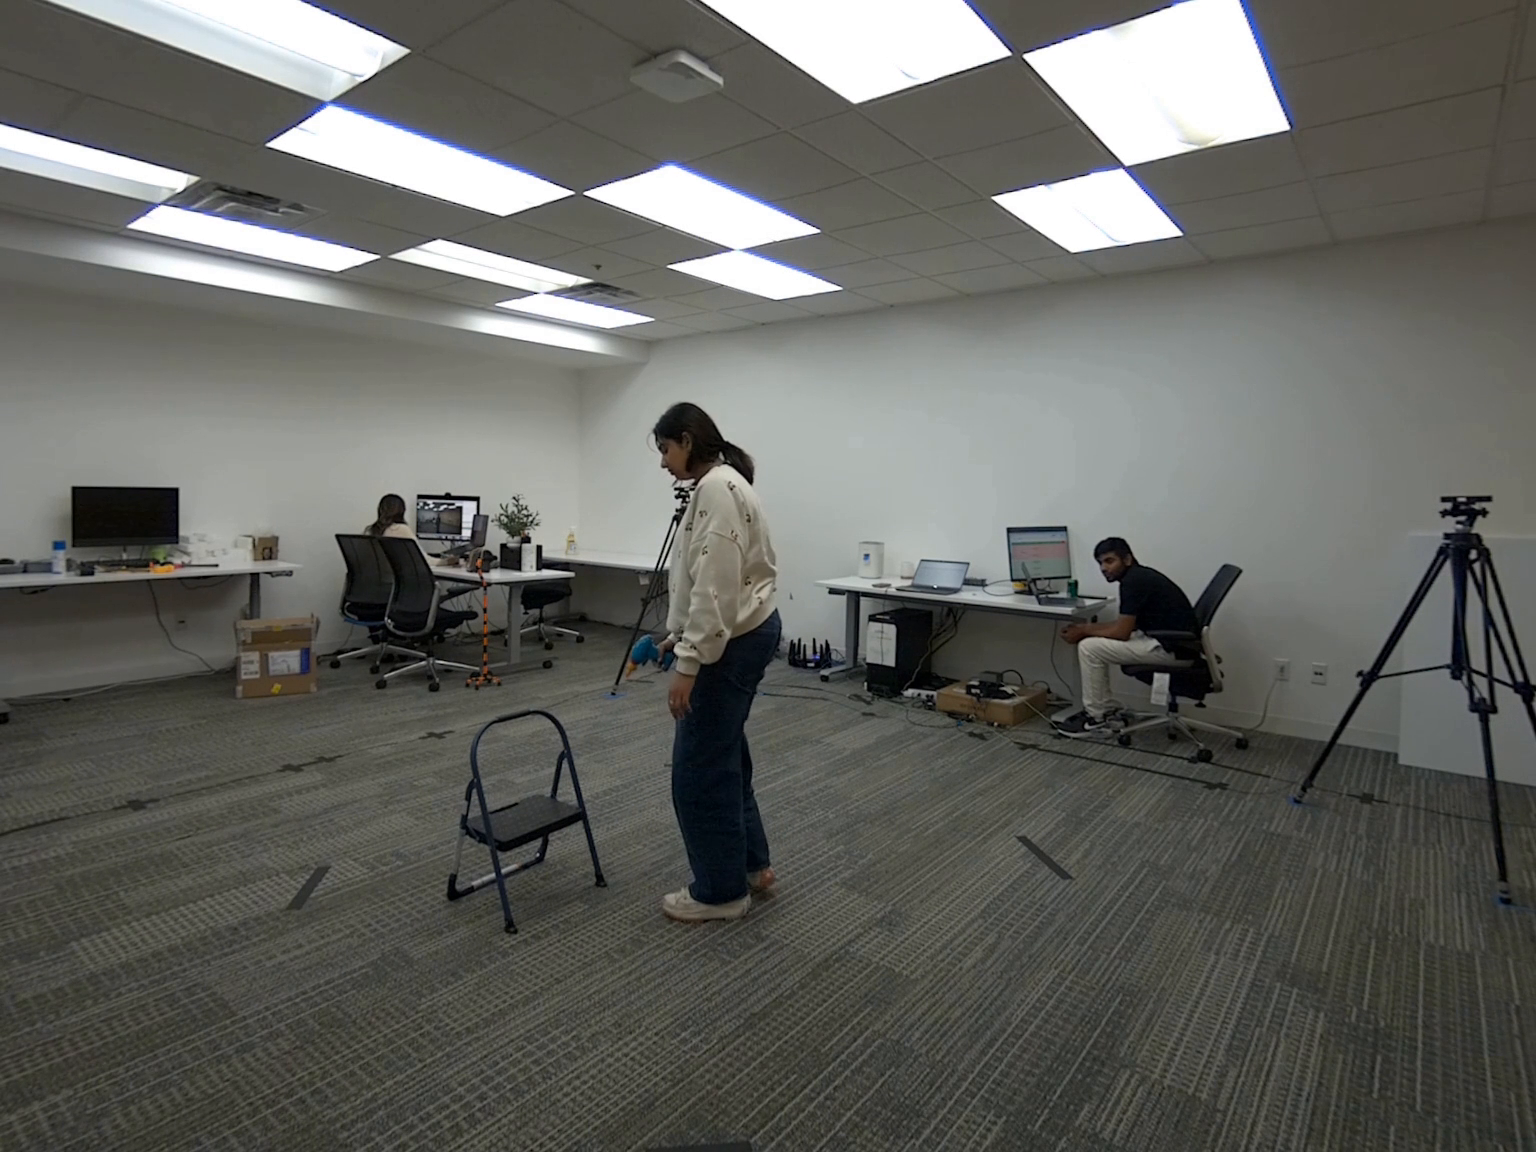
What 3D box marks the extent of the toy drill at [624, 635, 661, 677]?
[{"bbox_3d":[-0.430,0.305,2.998,0.145,0.170,0.062,30,-1,-7],"label":"toy drill"}]
